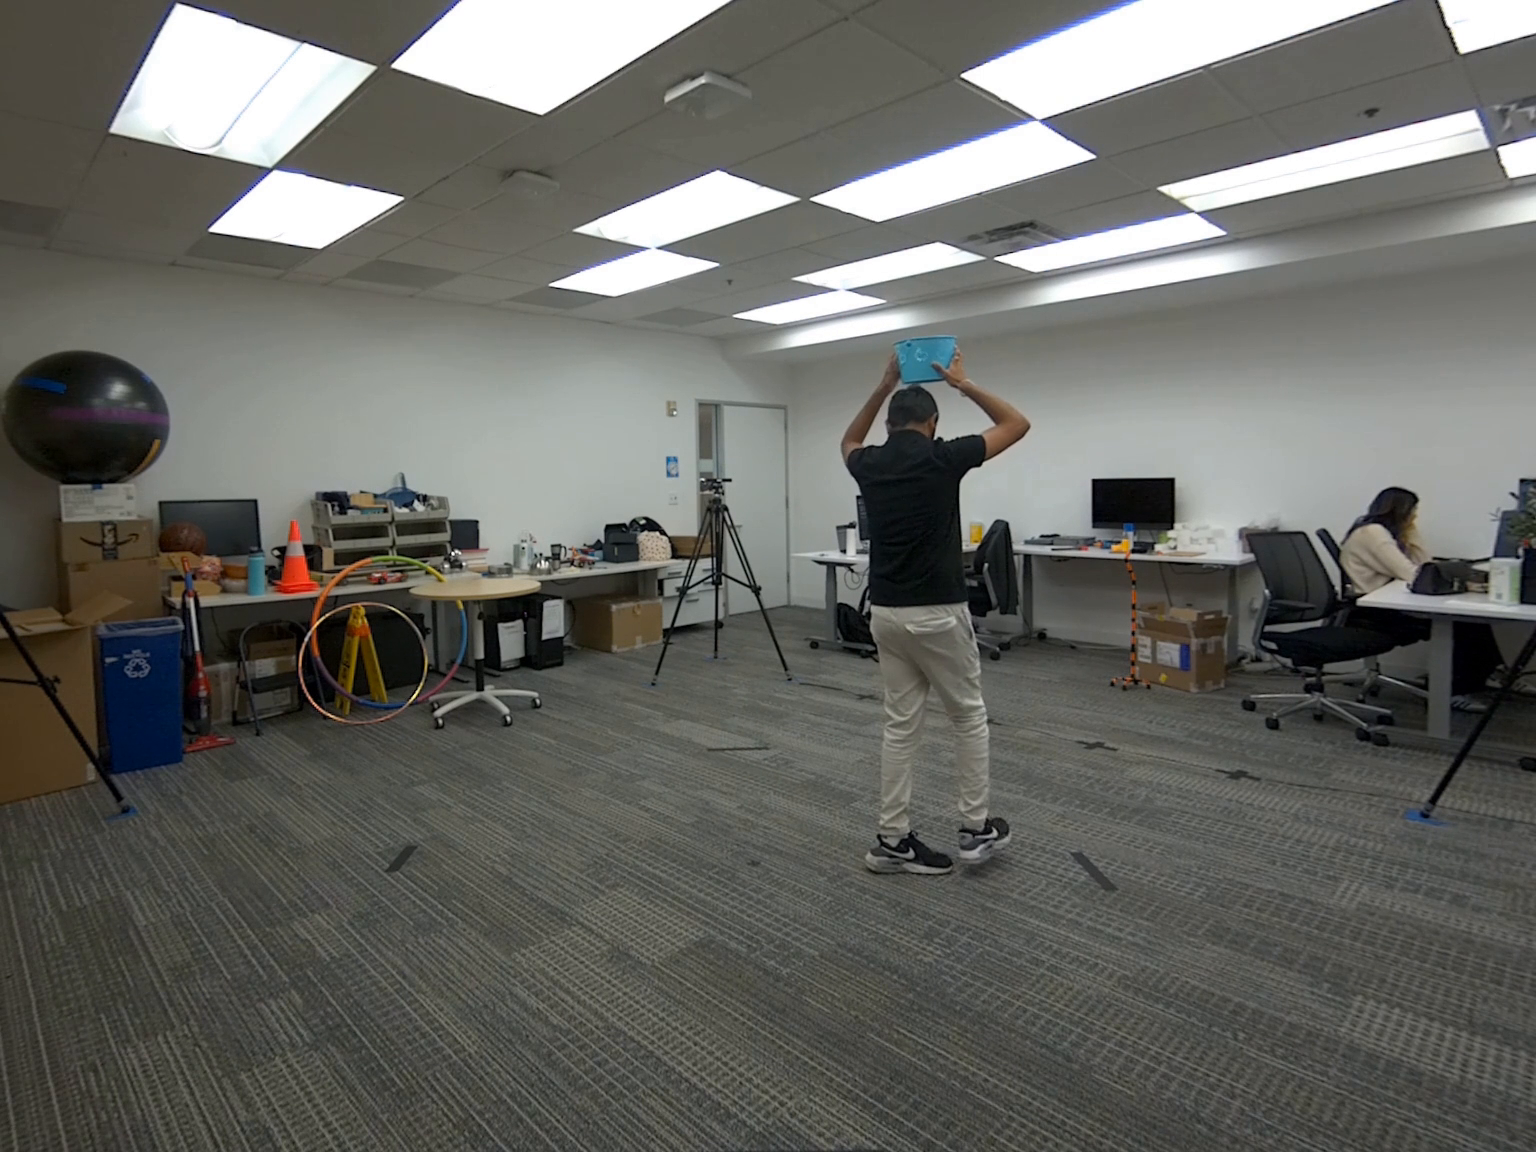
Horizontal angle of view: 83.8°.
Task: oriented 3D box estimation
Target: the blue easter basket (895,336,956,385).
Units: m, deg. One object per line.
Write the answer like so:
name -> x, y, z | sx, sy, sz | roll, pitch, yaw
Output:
blue easter basket -> 0.606, -0.810, 3.216 | 0.243, 0.155, 0.245 | -4, 5, -1
